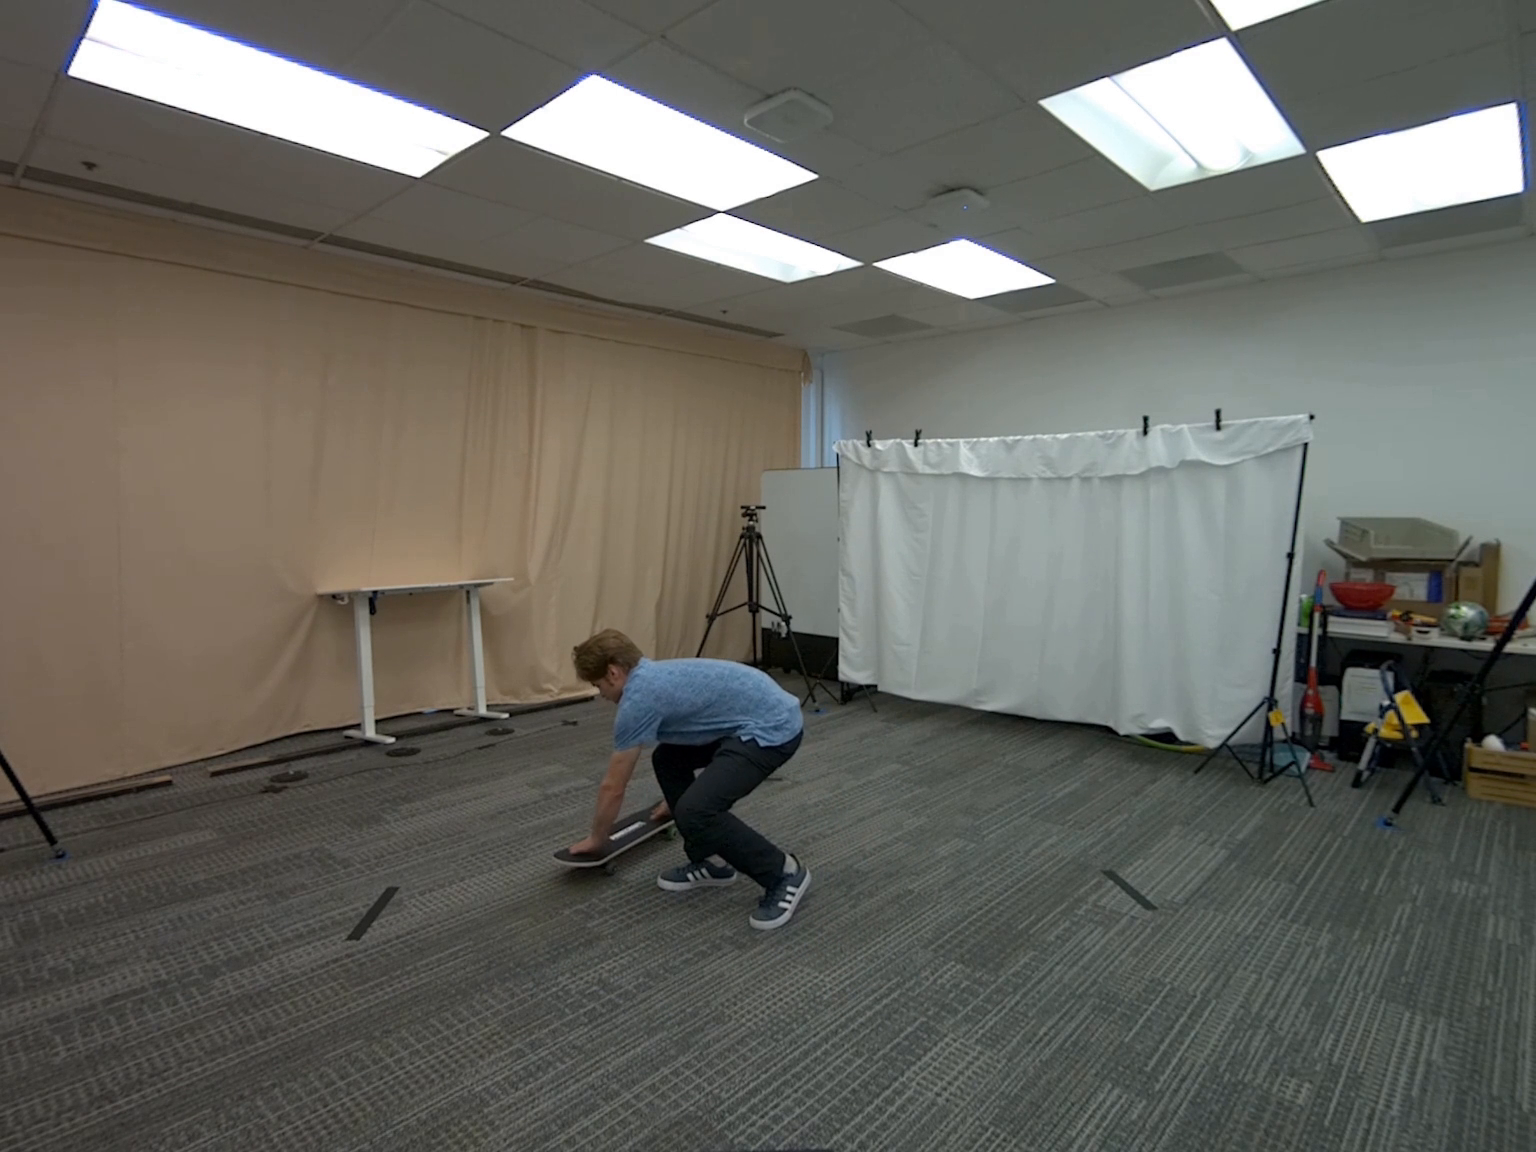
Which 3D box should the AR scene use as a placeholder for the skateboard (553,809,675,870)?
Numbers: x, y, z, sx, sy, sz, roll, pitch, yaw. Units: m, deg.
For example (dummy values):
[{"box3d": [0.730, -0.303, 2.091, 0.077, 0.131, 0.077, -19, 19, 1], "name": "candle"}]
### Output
[{"box3d": [-0.567, 1.059, 3.396, 0.199, 0.110, 0.765, 2, 5, 30], "name": "skateboard"}]
